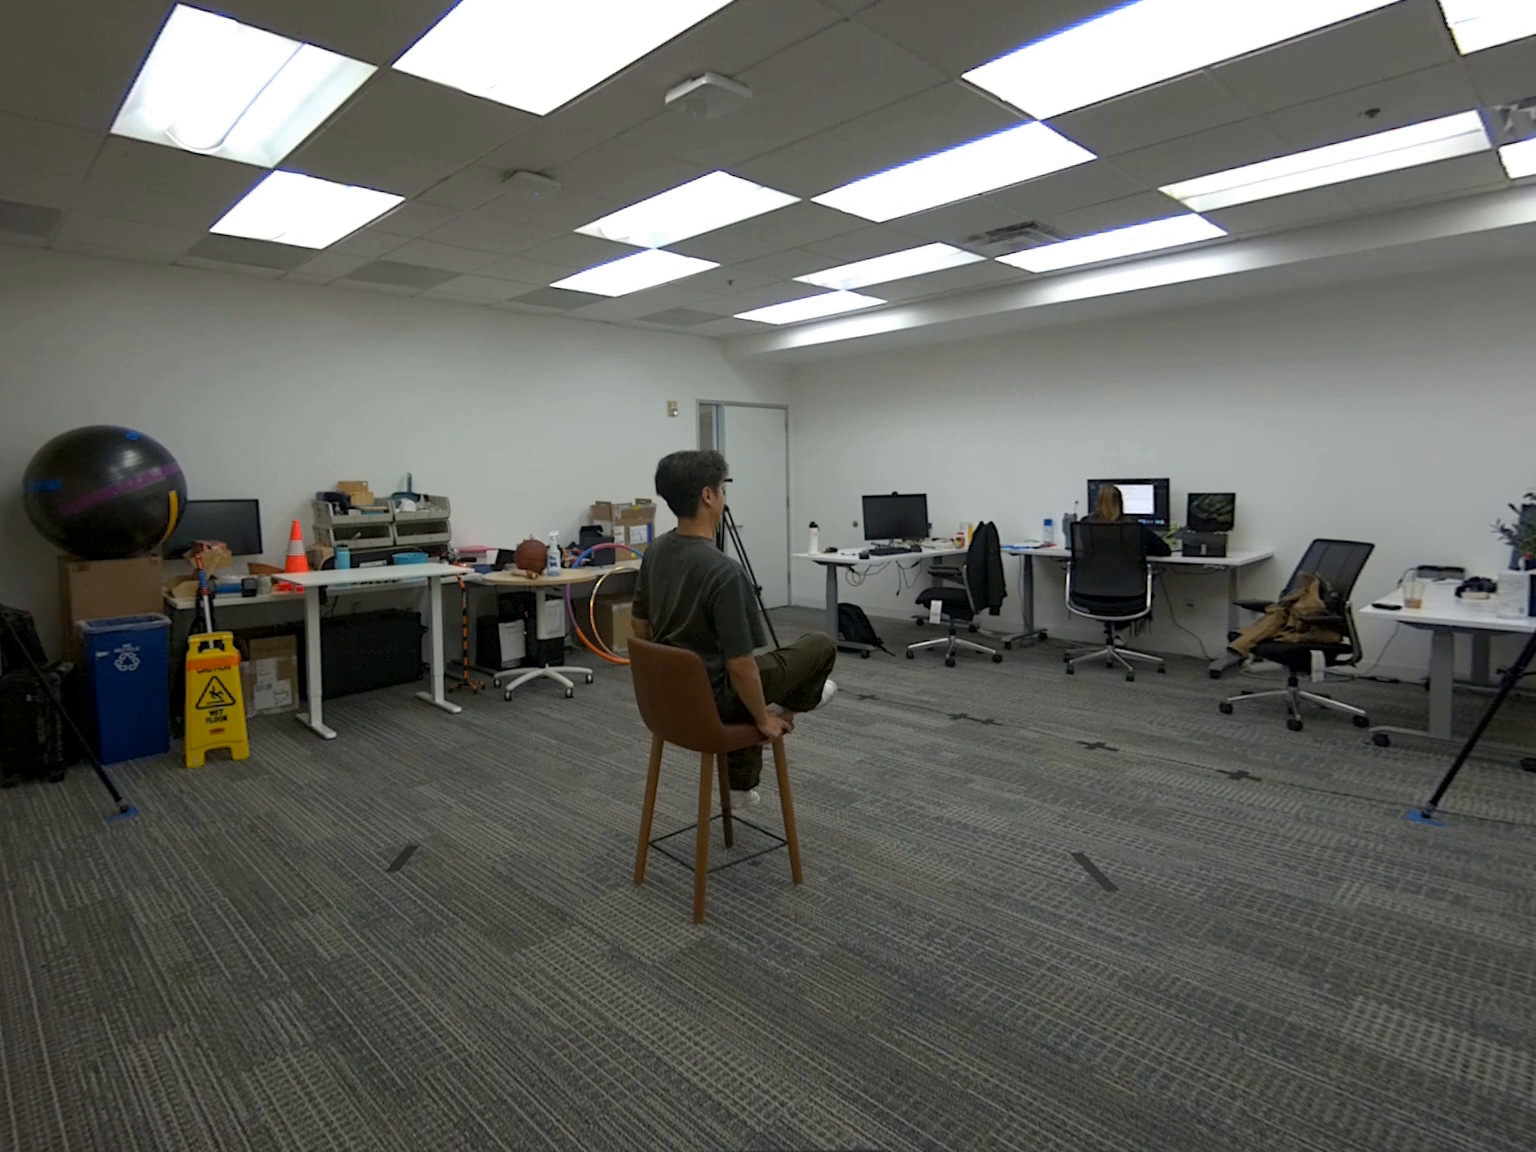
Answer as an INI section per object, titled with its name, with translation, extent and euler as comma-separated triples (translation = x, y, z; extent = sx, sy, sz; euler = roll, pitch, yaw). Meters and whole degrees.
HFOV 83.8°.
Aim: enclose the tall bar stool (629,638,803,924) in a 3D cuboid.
[tall bar stool]
translation = -0.189, 0.630, 2.936
extent = 0.456, 0.885, 0.470
euler = -7, 7, -40
